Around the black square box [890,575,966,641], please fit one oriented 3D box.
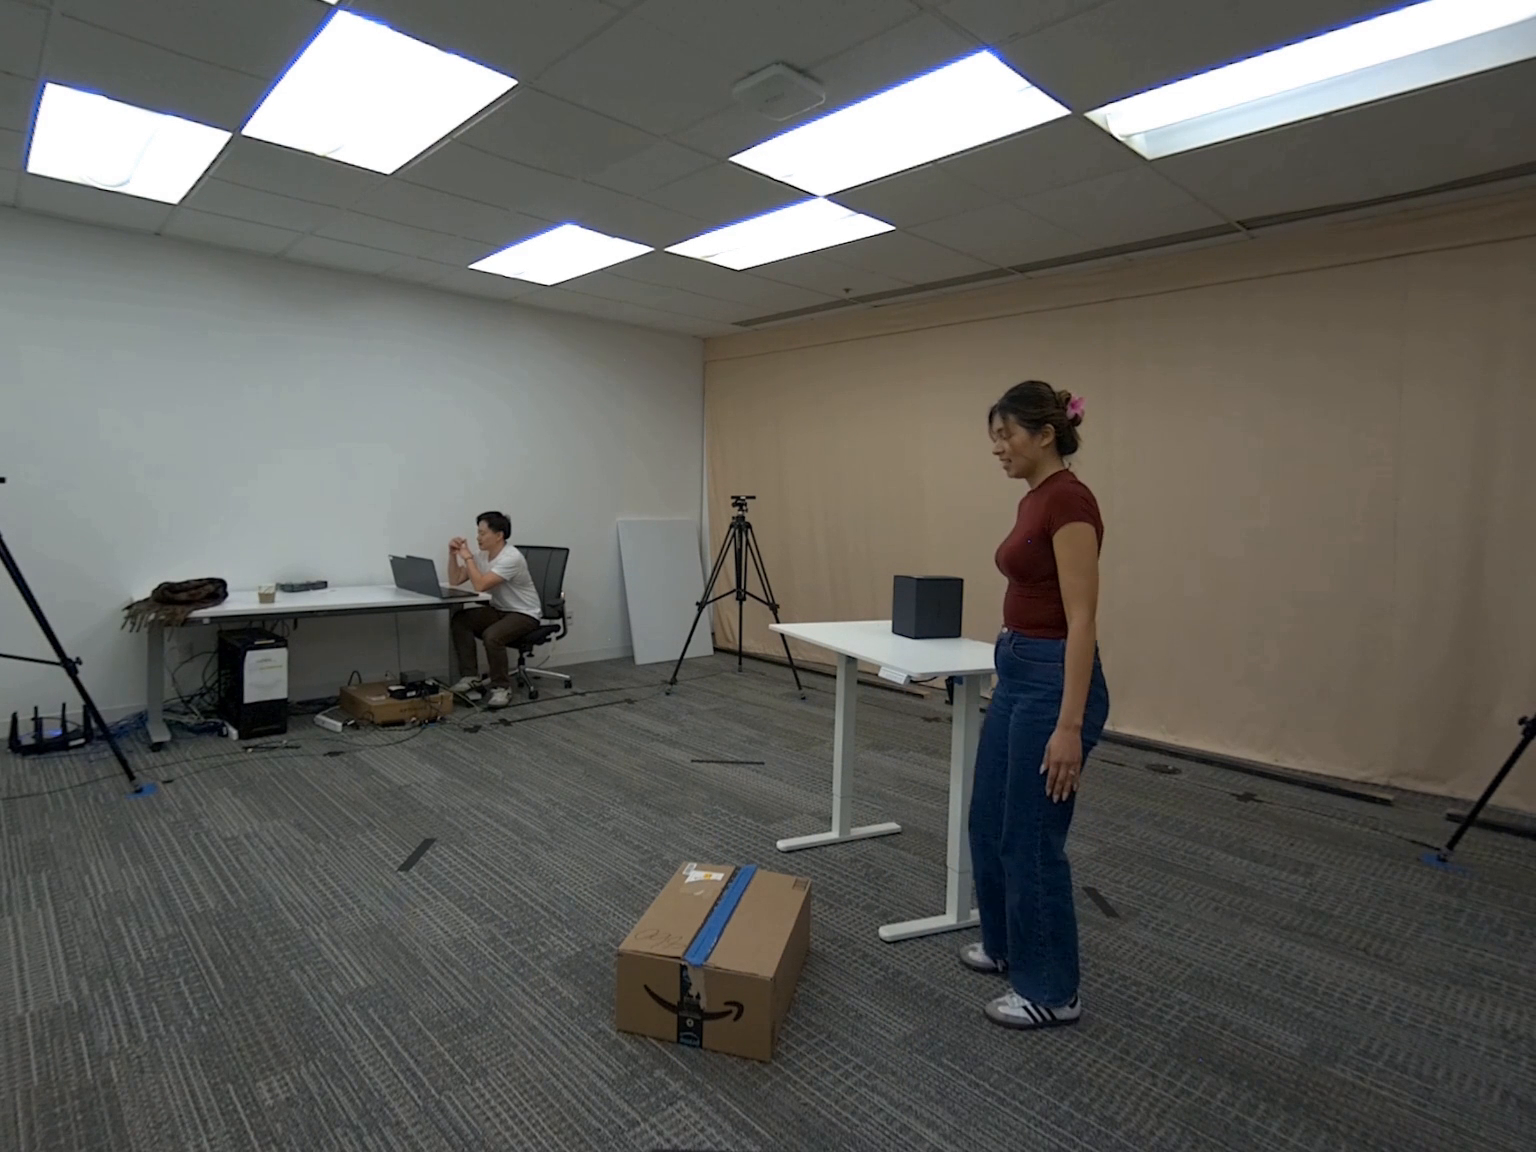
[{"bbox_3d":[0.606,0.116,3.225,0.213,0.227,0.159,1,3,-23],"label":"black square box"}]
